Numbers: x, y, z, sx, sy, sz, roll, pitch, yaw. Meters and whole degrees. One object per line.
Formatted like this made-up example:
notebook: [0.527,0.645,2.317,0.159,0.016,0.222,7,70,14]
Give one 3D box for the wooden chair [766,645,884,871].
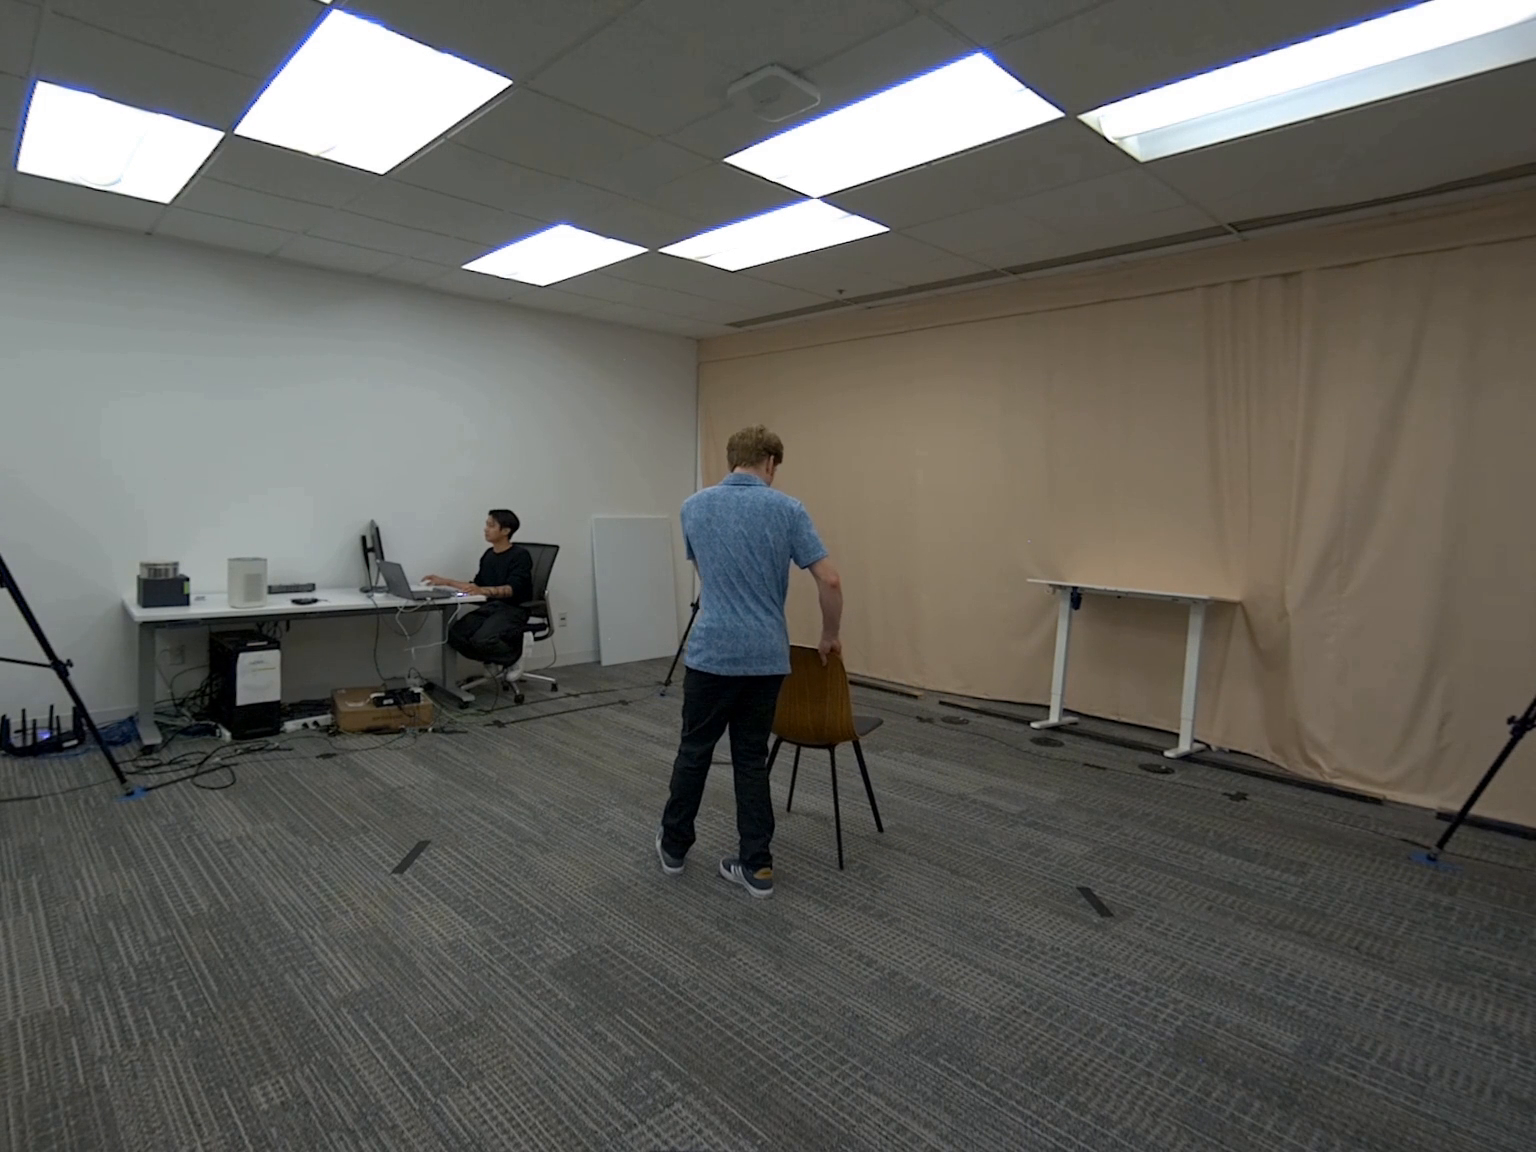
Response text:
wooden chair: [0.189,0.653,3.455,0.488,0.873,0.515,3,8,29]
